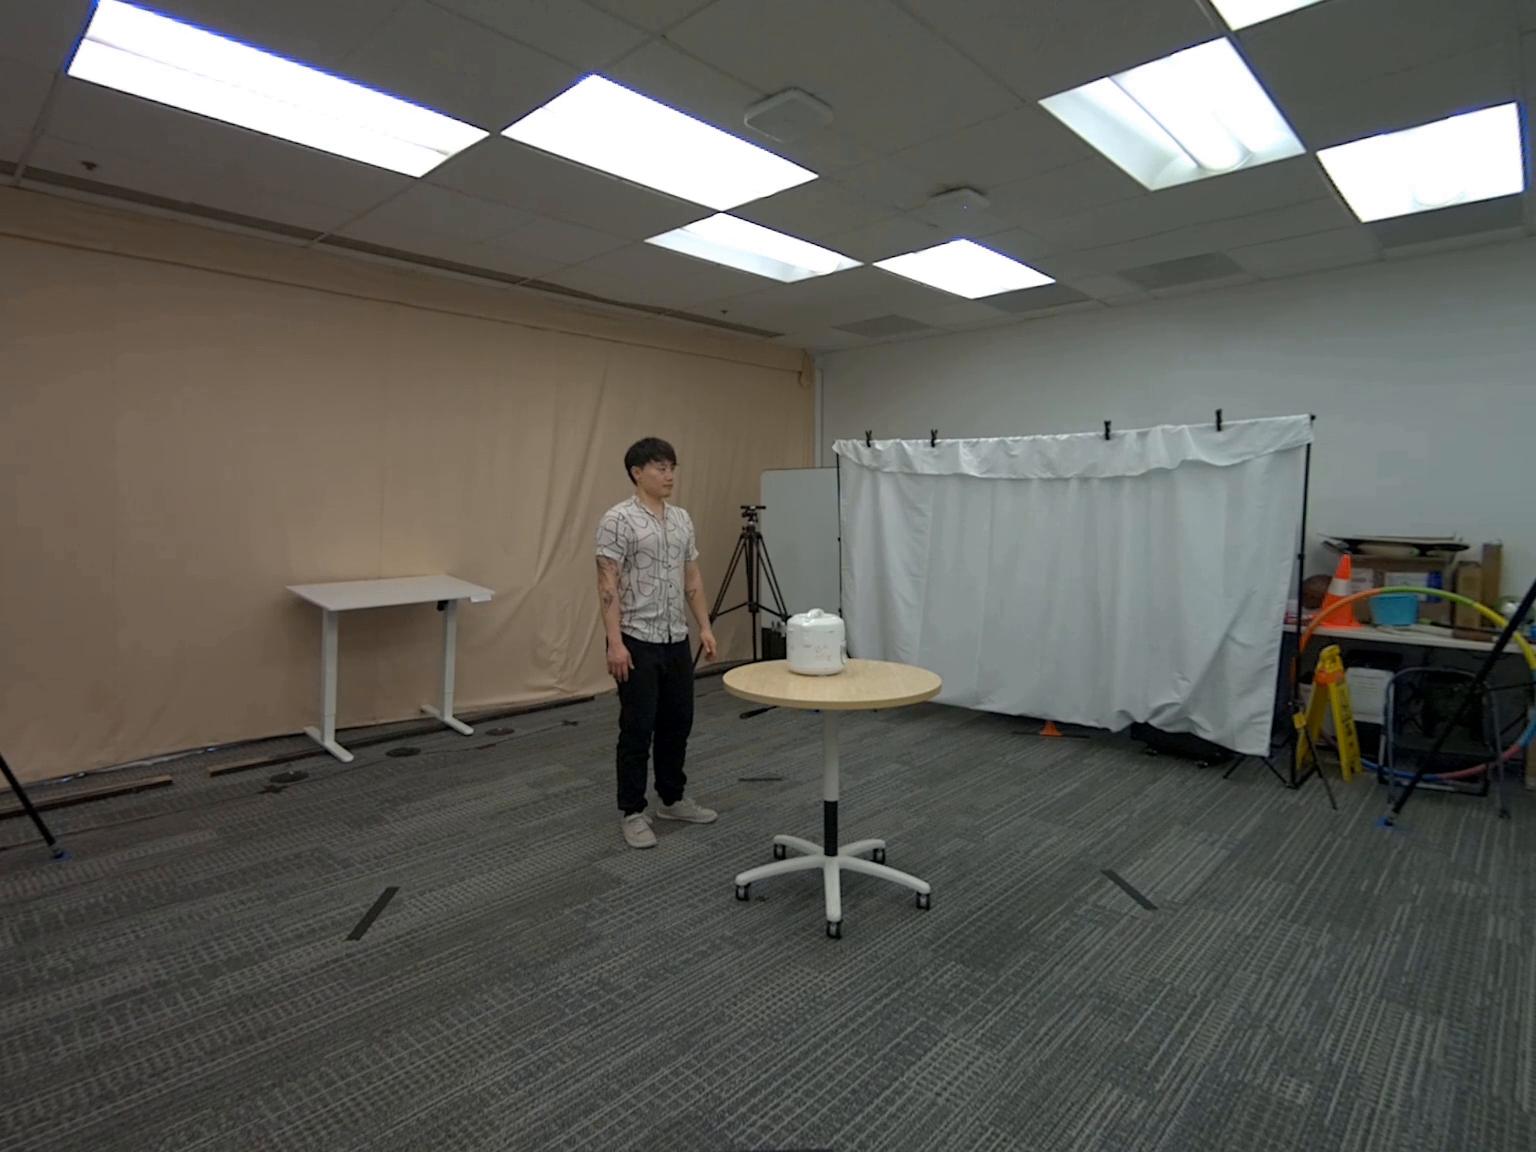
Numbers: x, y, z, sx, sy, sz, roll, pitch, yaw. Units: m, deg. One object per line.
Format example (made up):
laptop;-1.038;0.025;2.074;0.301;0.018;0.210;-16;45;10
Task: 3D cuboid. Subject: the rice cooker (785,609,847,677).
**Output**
rice cooker;0.180;0.237;3.084;0.223;0.232;0.216;0;4;24
